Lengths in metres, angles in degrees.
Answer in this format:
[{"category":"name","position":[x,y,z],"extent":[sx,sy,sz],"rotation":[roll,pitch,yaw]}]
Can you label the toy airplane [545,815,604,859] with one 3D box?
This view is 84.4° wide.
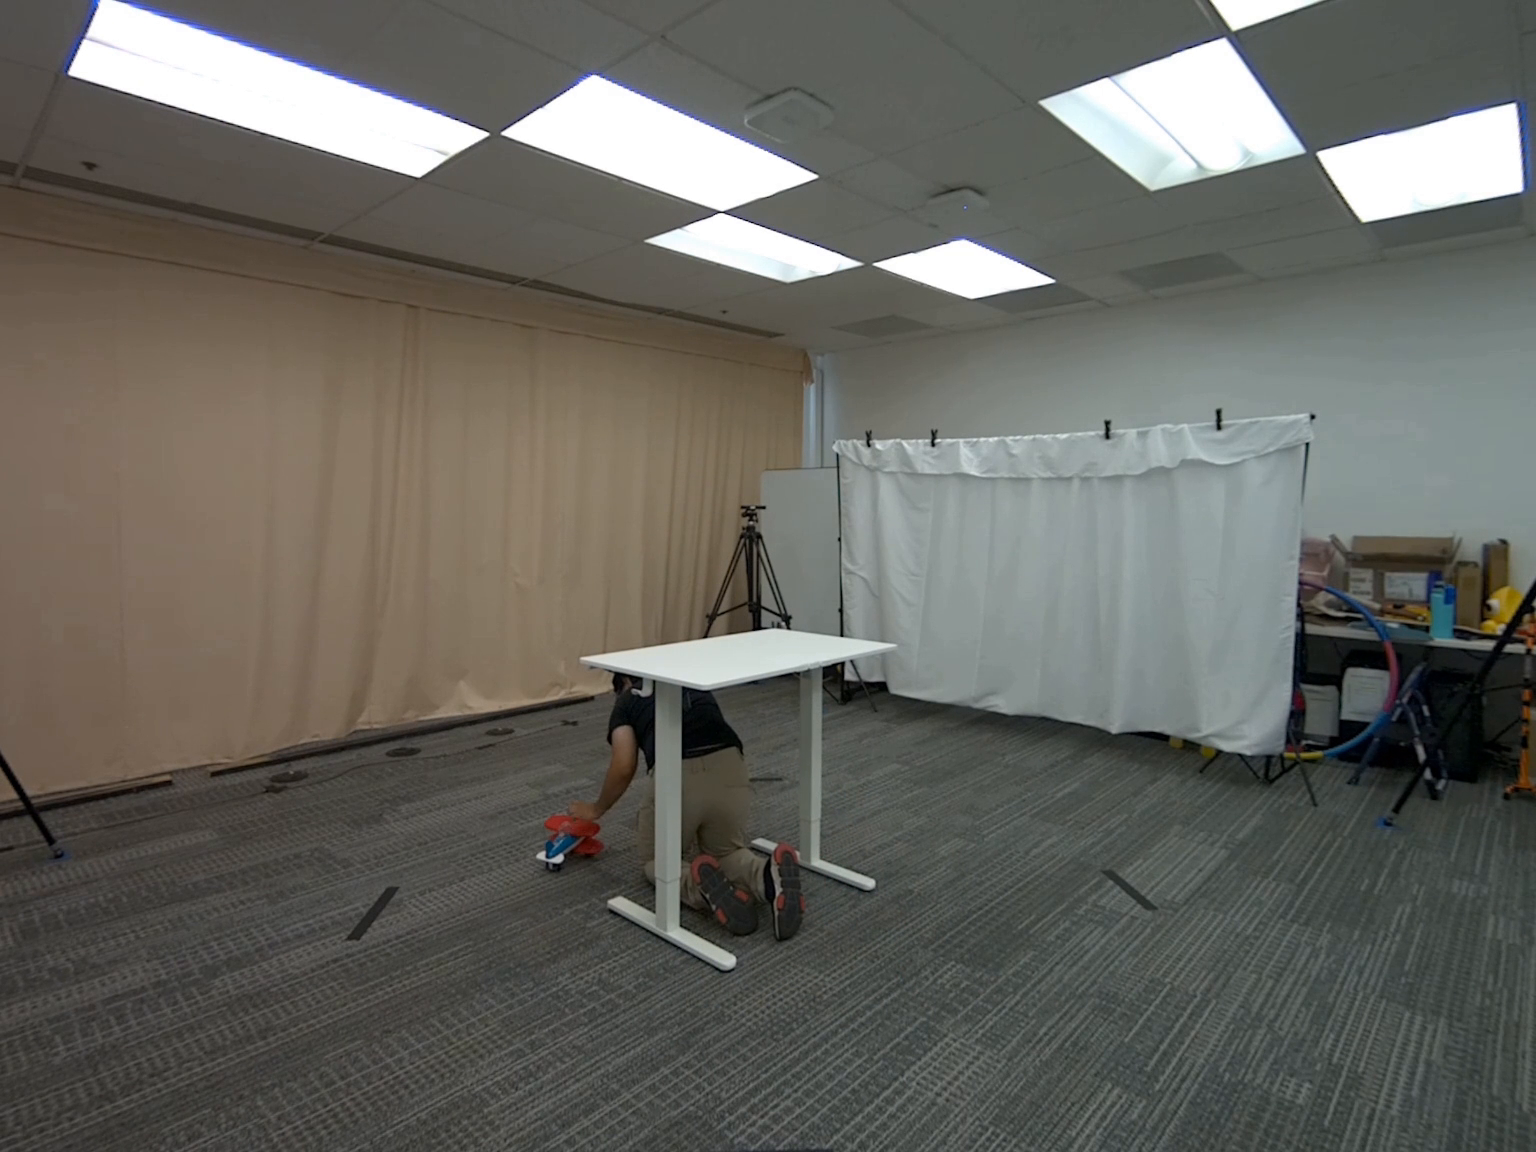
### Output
[{"category":"toy airplane","position":[-0.765,1.049,3.301],"extent":[0.251,0.156,0.260],"rotation":[-1,3,-2]}]
